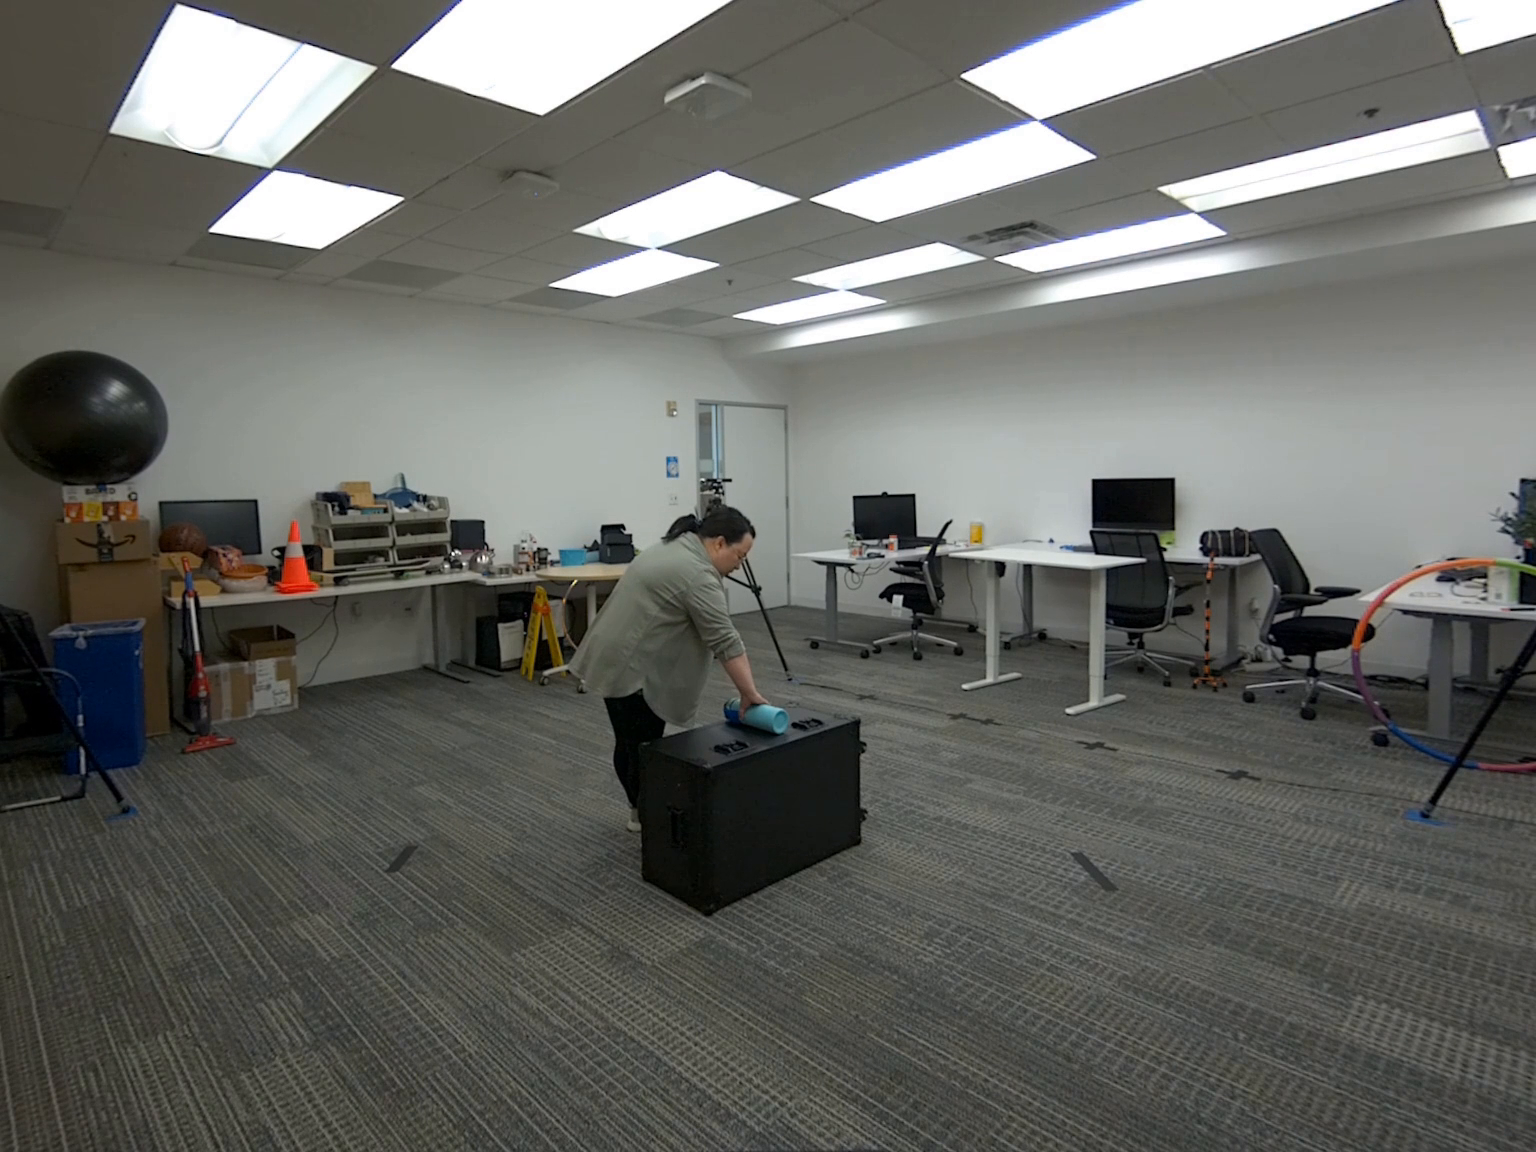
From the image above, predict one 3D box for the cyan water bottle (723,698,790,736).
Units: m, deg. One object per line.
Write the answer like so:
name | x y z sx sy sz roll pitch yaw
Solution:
cyan water bottle | -0.054 0.507 3.152 0.090 0.092 0.292 -5 8 -43
